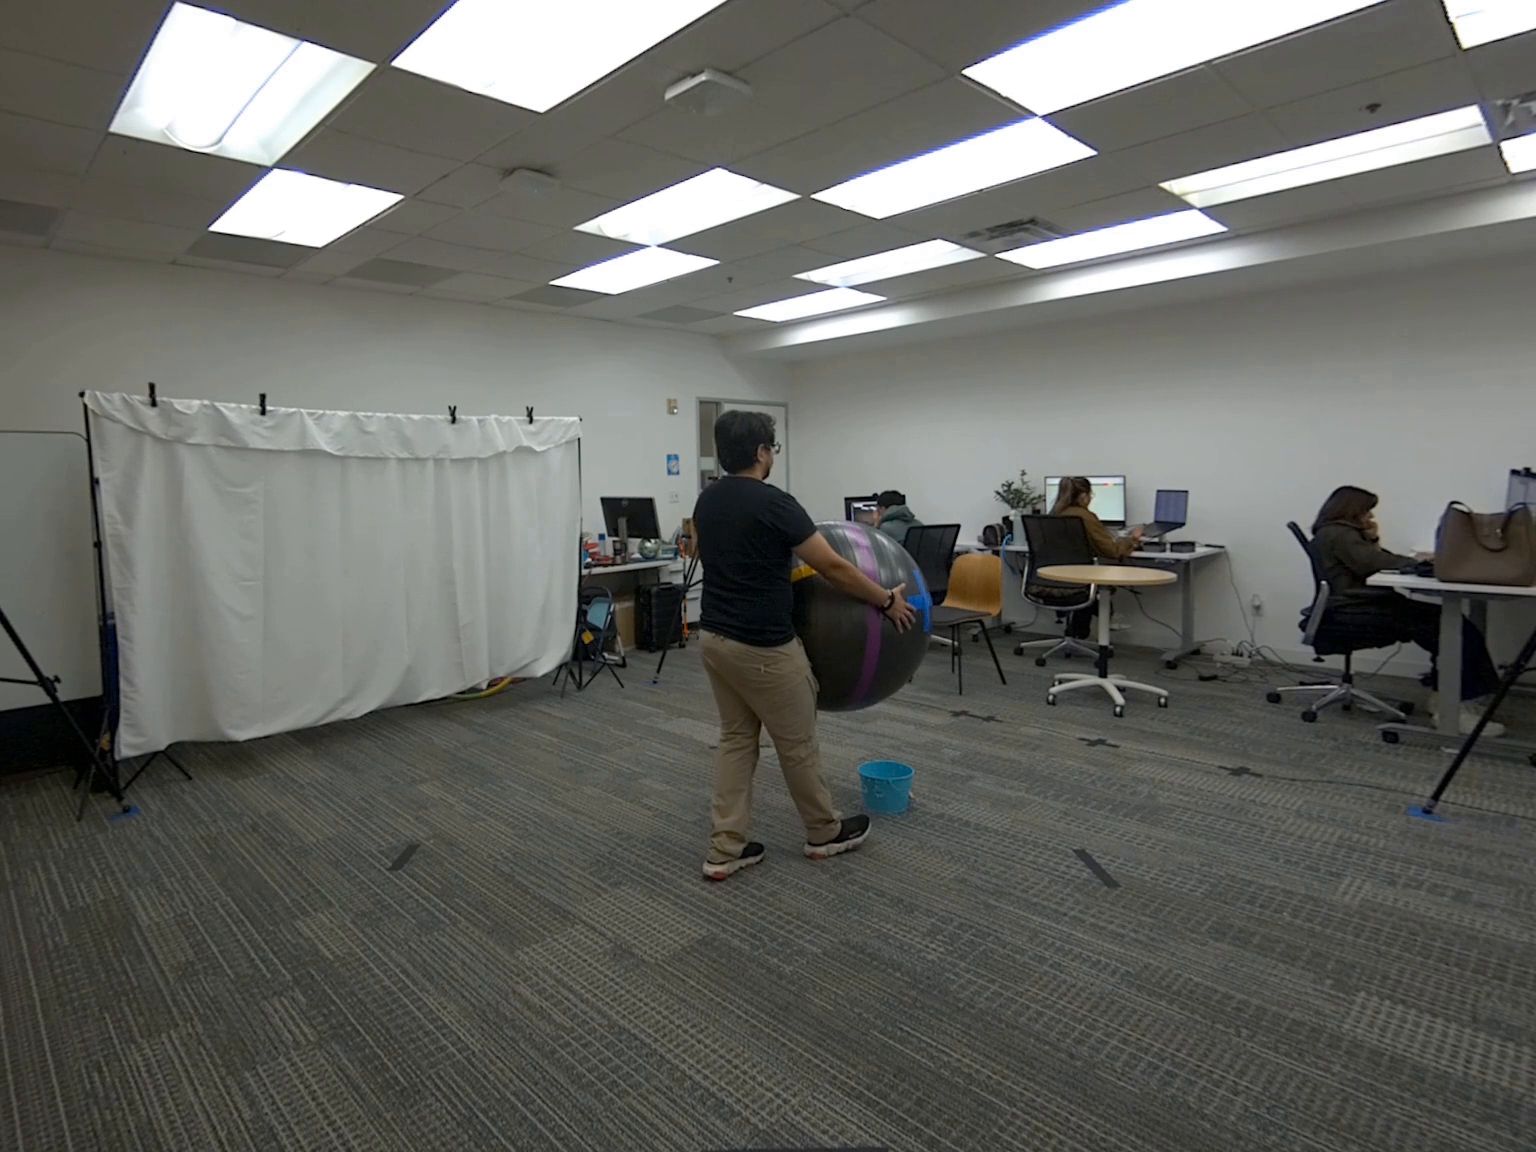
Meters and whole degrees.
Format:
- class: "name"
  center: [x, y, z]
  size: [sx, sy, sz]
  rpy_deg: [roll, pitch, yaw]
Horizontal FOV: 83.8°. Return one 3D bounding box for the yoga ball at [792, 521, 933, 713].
- class: "yoga ball"
  center: [0.277, 0.165, 3.413]
  size: [0.757, 0.755, 0.762]
  rpy_deg: [-1, 5, -2]
